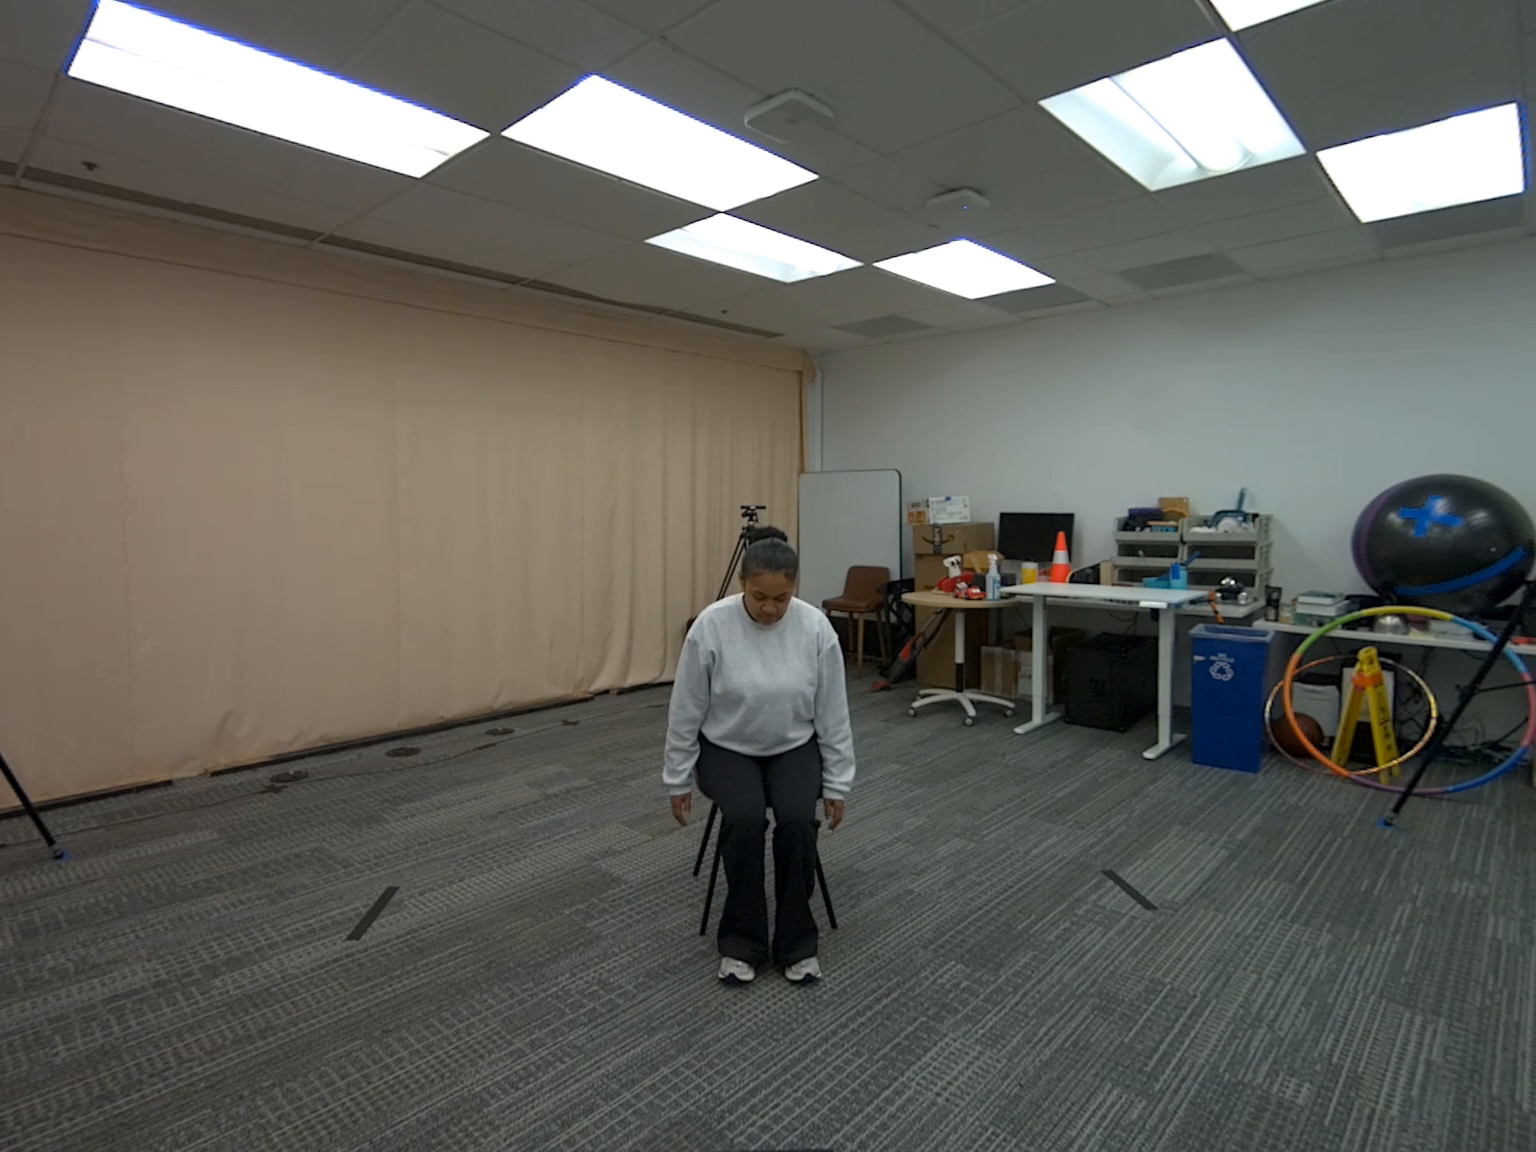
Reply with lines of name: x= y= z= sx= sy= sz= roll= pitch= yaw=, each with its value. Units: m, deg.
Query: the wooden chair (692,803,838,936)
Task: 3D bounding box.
wooden chair: x=-0.023 y=0.717 z=2.934 sx=0.475 sy=0.877 sz=0.527 roll=0 pitch=0 yaw=-7
